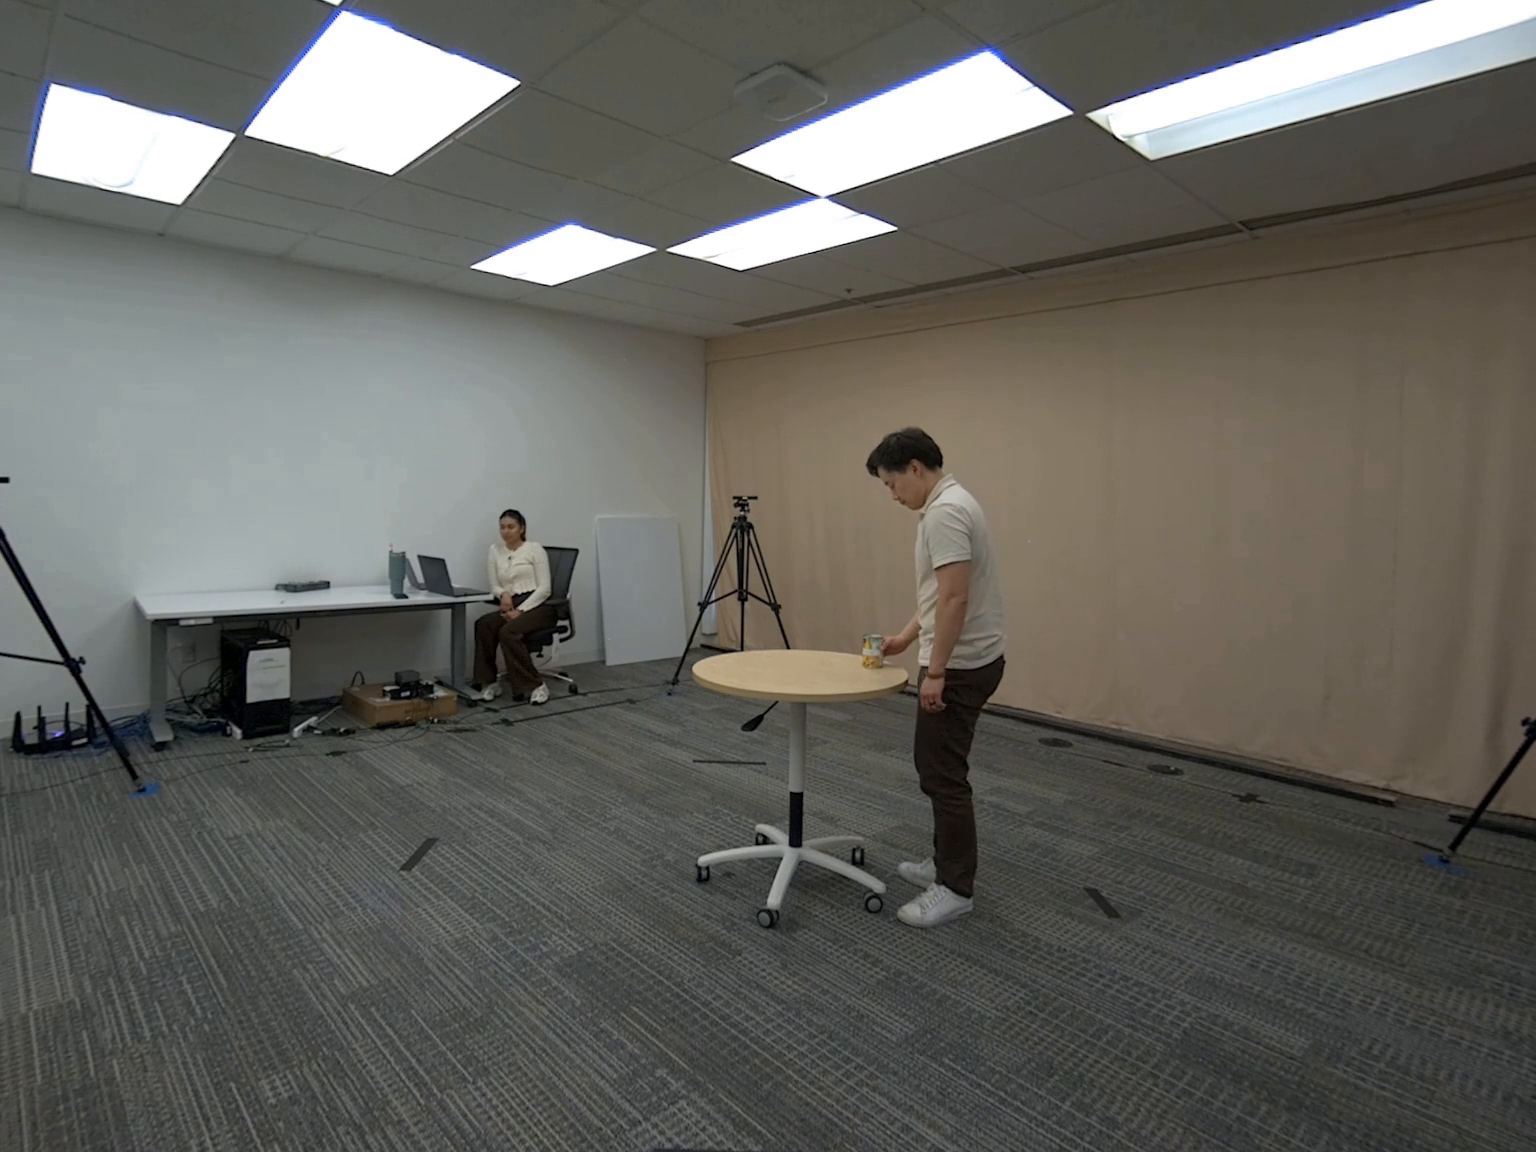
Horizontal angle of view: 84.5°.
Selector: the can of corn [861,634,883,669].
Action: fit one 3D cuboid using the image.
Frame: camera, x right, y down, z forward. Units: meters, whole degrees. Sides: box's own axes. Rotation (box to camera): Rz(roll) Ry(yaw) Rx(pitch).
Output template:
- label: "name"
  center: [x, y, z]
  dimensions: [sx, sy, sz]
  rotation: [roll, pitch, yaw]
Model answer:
- label: "can of corn"
  center: [0.381, 0.278, 3.070]
  dimensions: [0.074, 0.111, 0.074]
  rotation: [7, 4, -2]
